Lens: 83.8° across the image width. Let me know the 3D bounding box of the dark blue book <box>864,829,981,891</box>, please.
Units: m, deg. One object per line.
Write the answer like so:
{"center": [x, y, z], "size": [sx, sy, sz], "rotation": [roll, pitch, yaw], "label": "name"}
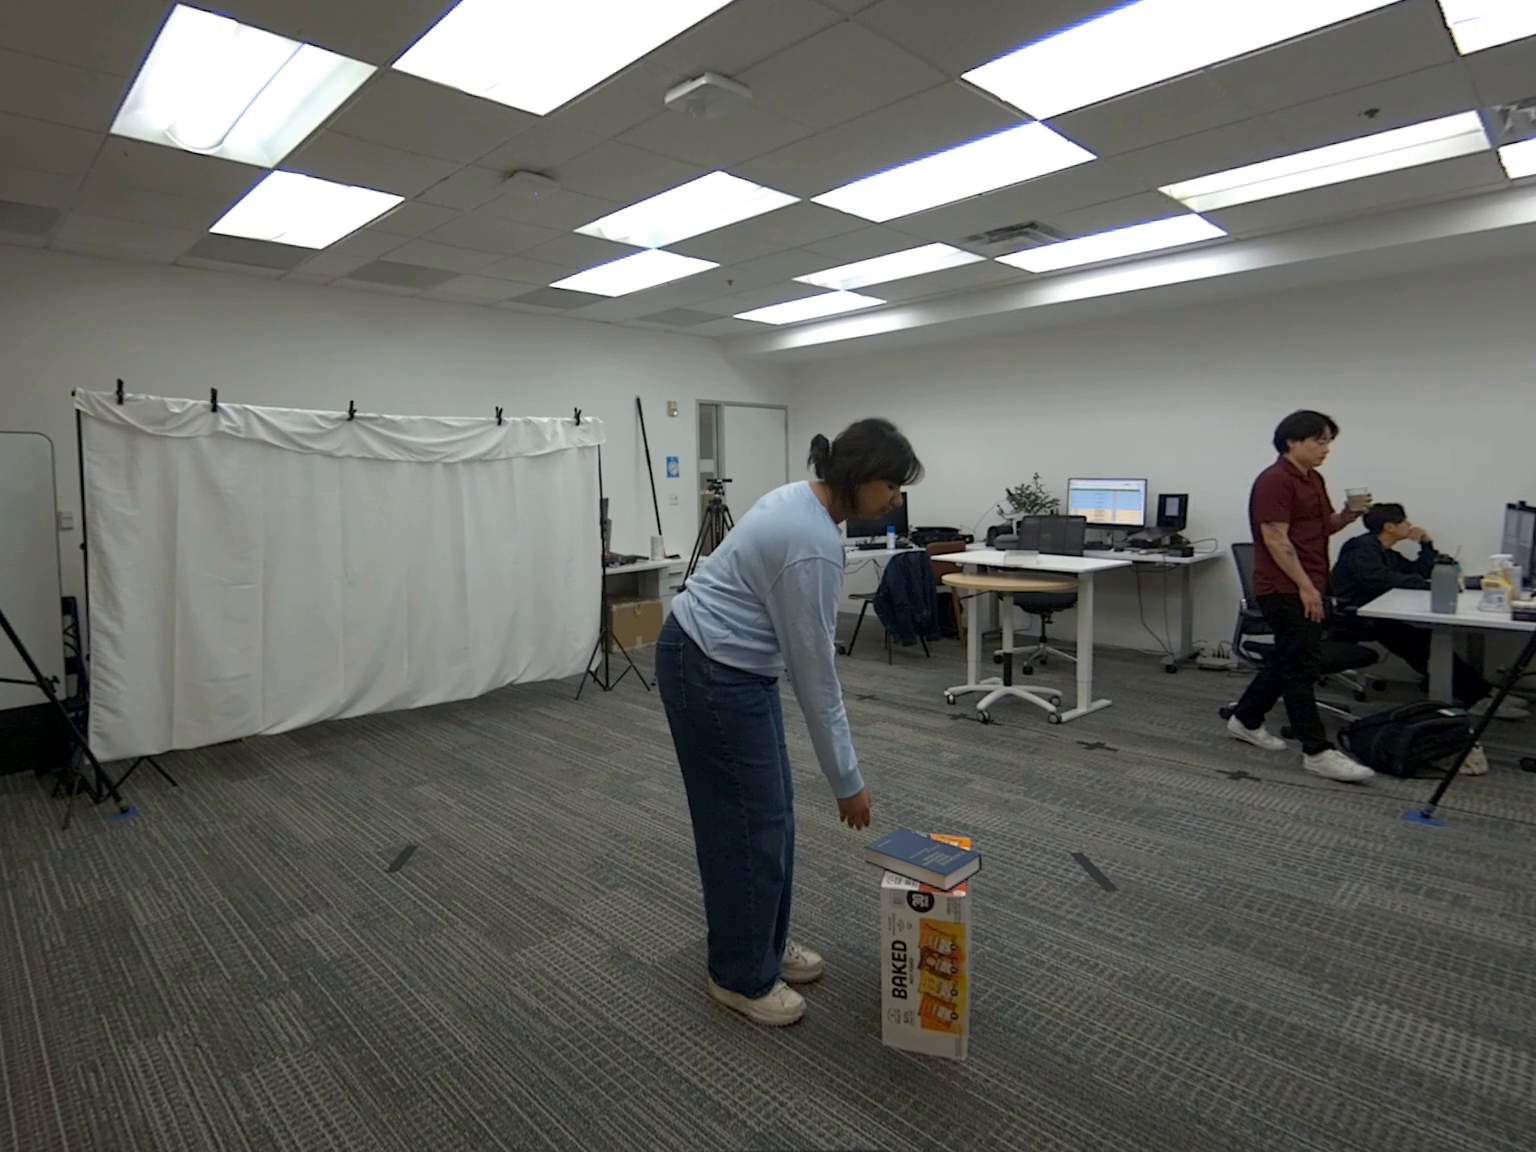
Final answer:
{"center": [0.393, 0.713, 2.182], "size": [0.253, 0.045, 0.159], "rotation": [4, 9, 44], "label": "dark blue book"}
